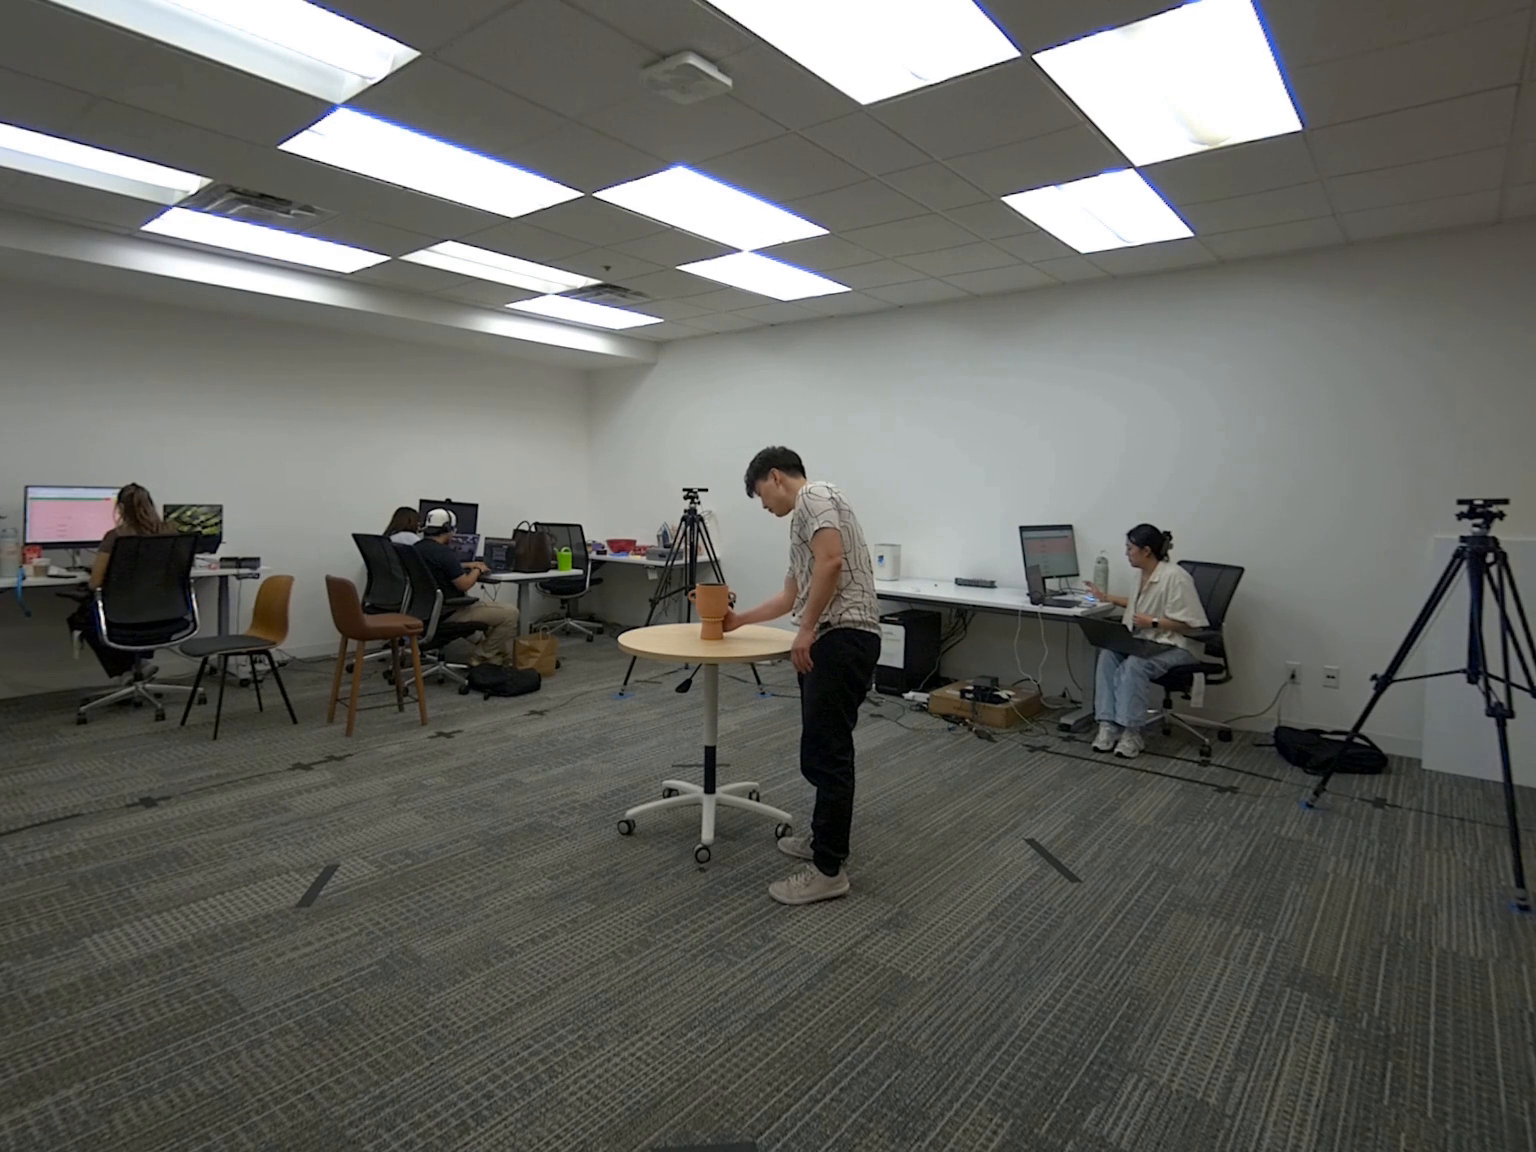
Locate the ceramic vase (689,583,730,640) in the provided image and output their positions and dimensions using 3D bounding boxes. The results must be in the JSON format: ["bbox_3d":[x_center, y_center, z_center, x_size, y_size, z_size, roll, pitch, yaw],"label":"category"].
[{"bbox_3d":[-0.240,0.140,3.485,0.130,0.219,0.164,-3,5,-44],"label":"ceramic vase"}]
